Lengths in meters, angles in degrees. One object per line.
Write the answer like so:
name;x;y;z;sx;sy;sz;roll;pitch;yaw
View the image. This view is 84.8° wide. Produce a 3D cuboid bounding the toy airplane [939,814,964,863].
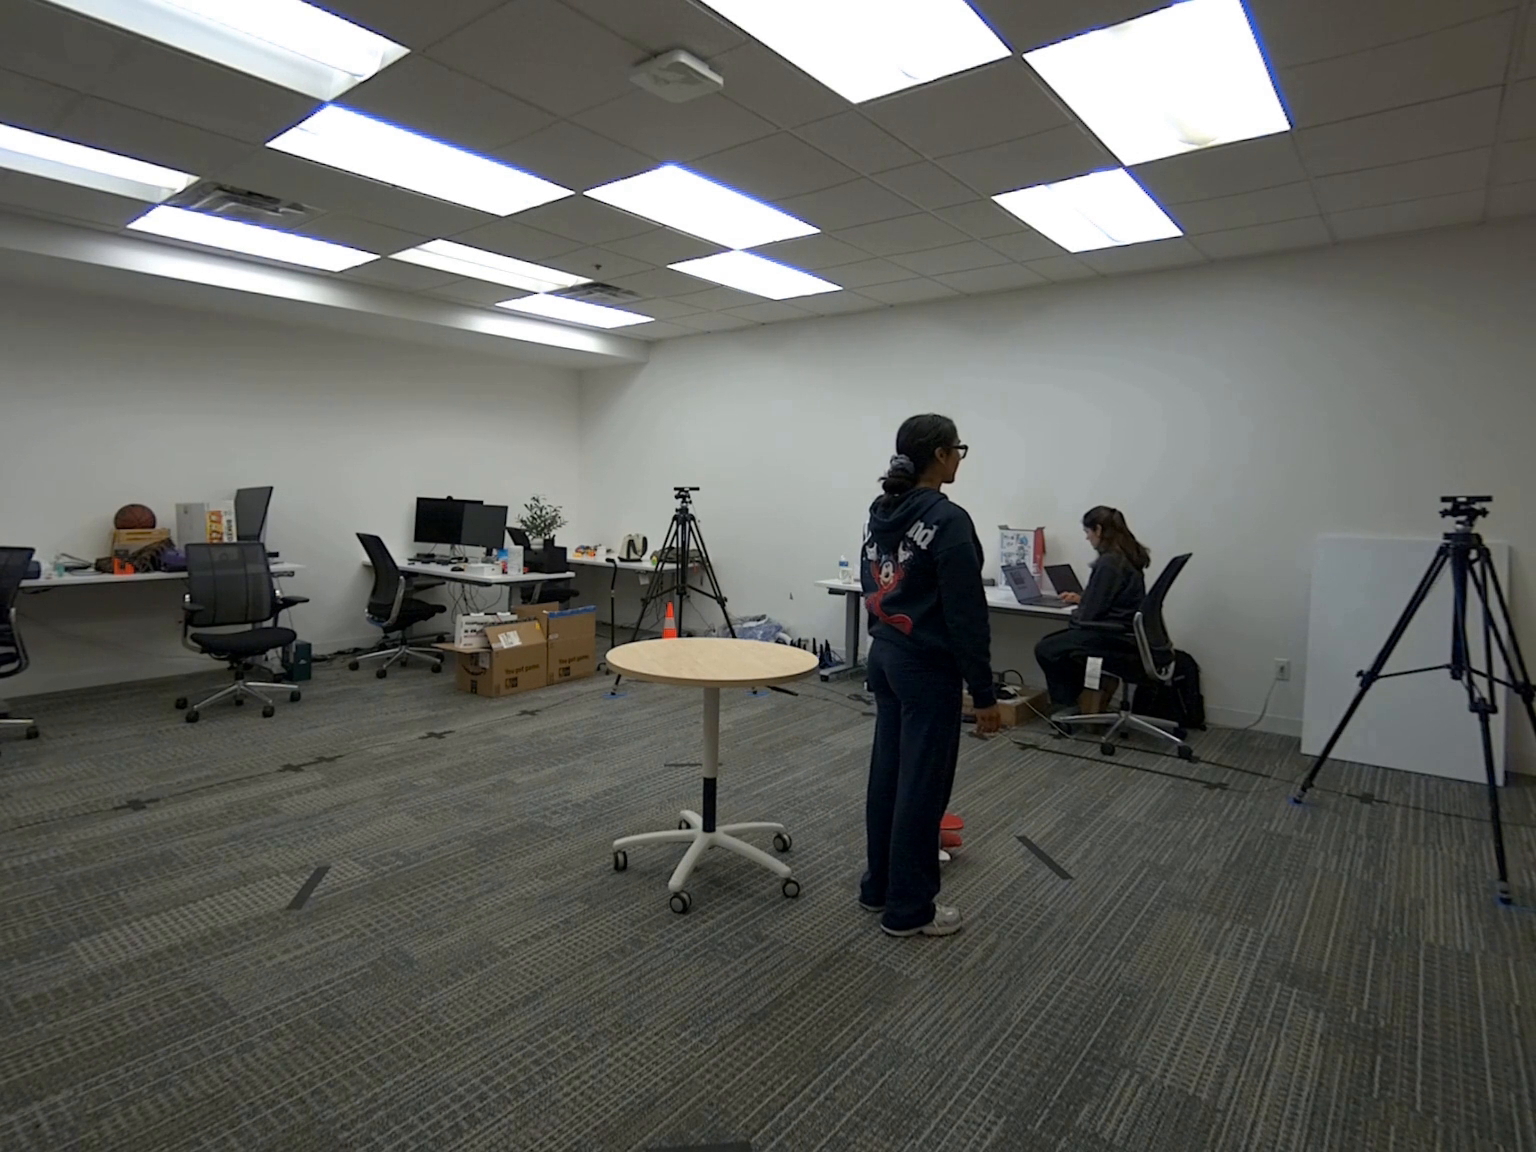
toy airplane;0.620;0.989;3.228;0.245;0.156;0.266;-1;5;-23
